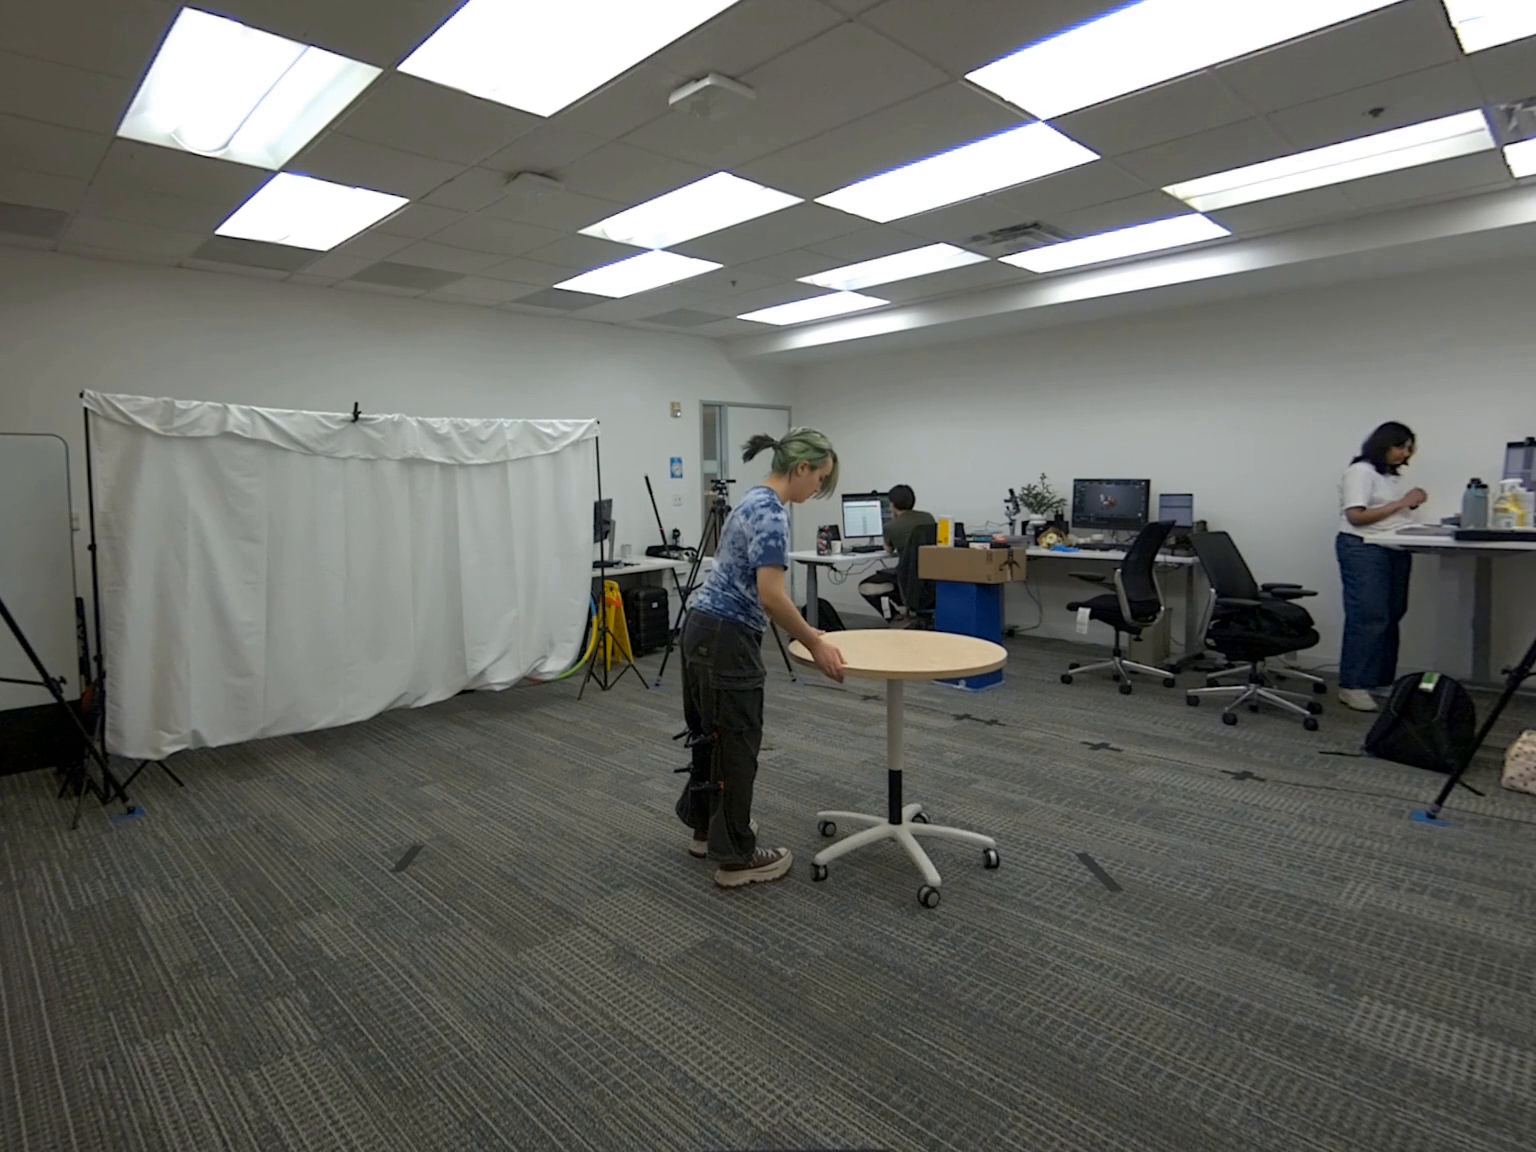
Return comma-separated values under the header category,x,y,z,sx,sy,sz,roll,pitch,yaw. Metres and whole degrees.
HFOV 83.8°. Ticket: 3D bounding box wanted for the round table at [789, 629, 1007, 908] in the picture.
category,x,y,z,sx,sy,sz,roll,pitch,yaw
round table,0.467,0.648,3.096,0.763,0.791,0.768,-1,5,-2
